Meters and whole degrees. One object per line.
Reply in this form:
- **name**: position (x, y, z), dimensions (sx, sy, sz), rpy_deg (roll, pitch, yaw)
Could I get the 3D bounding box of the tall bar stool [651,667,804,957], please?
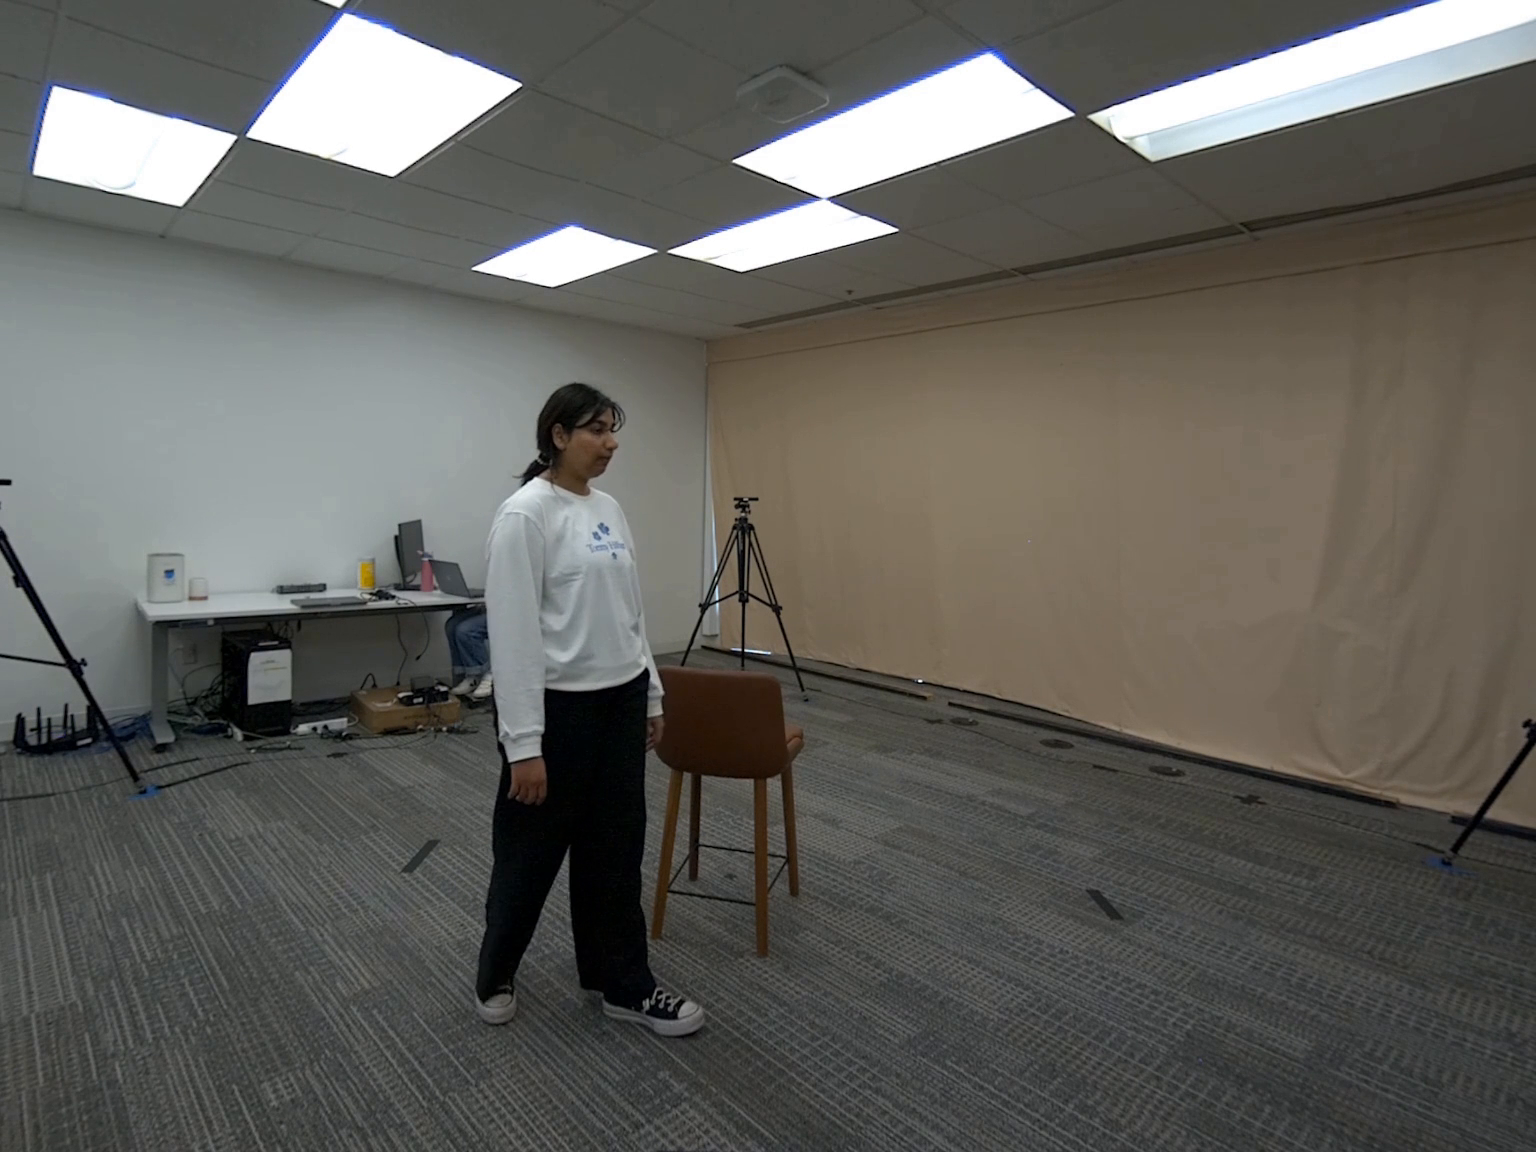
- **tall bar stool**: position (-0.133, 0.703, 2.787), dimensions (0.462, 0.886, 0.463), rpy_deg (2, 5, 15)
